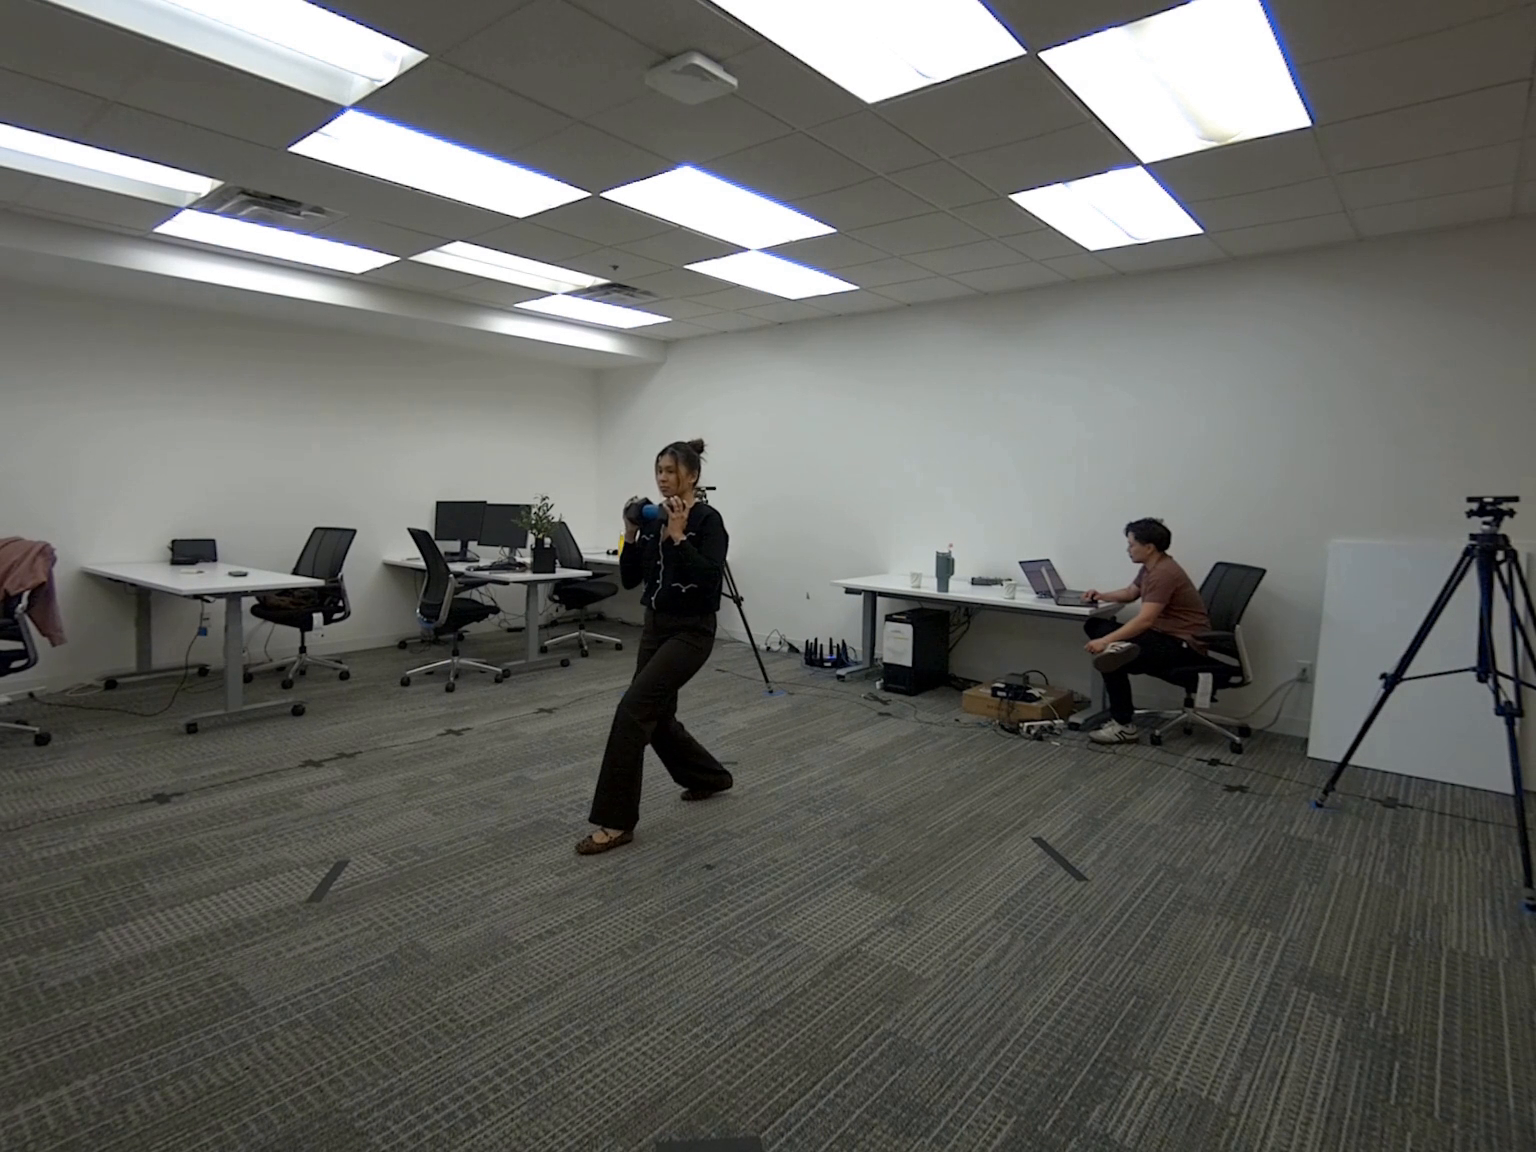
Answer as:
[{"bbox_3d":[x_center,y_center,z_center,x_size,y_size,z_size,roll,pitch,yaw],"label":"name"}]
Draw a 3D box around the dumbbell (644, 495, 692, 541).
[{"bbox_3d":[-0.493,-0.273,3.576,0.304,0.109,0.118,6,-28,40],"label":"dumbbell"}]
